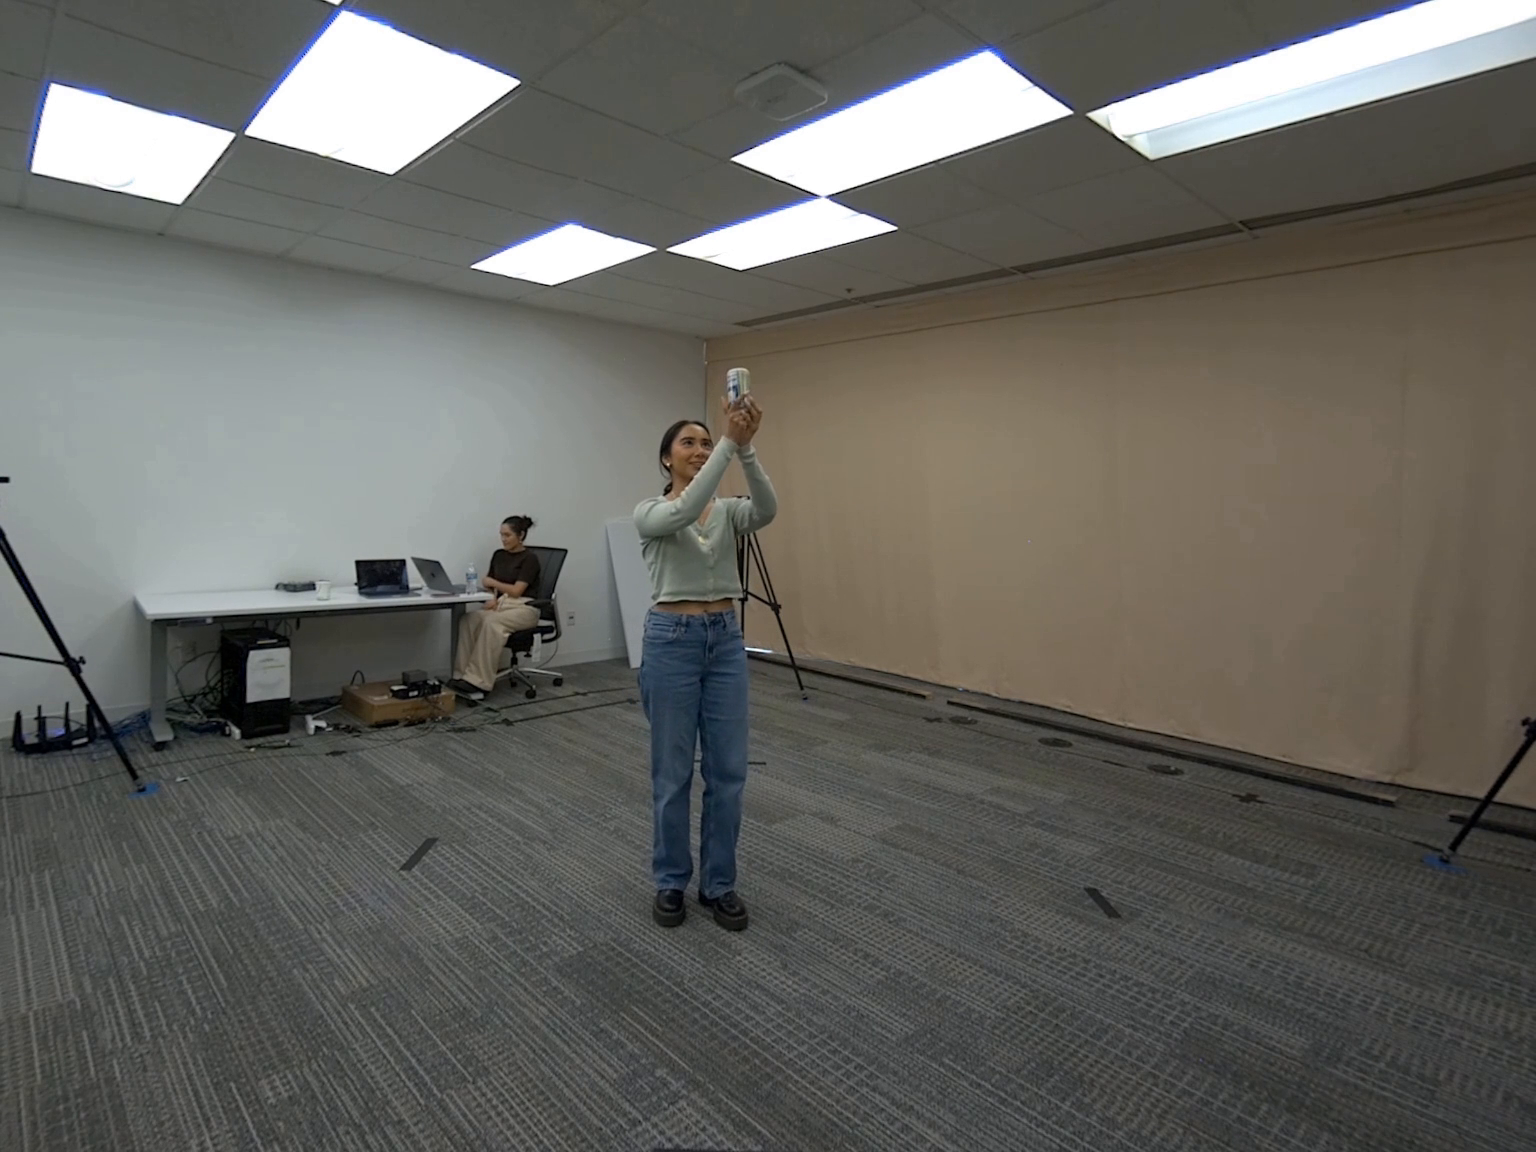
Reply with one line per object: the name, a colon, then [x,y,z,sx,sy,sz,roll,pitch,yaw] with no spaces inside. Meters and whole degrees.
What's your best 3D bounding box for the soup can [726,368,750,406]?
soup can: [-0.087,-0.547,2.499,0.067,0.122,0.067,-3,-6,-2]
